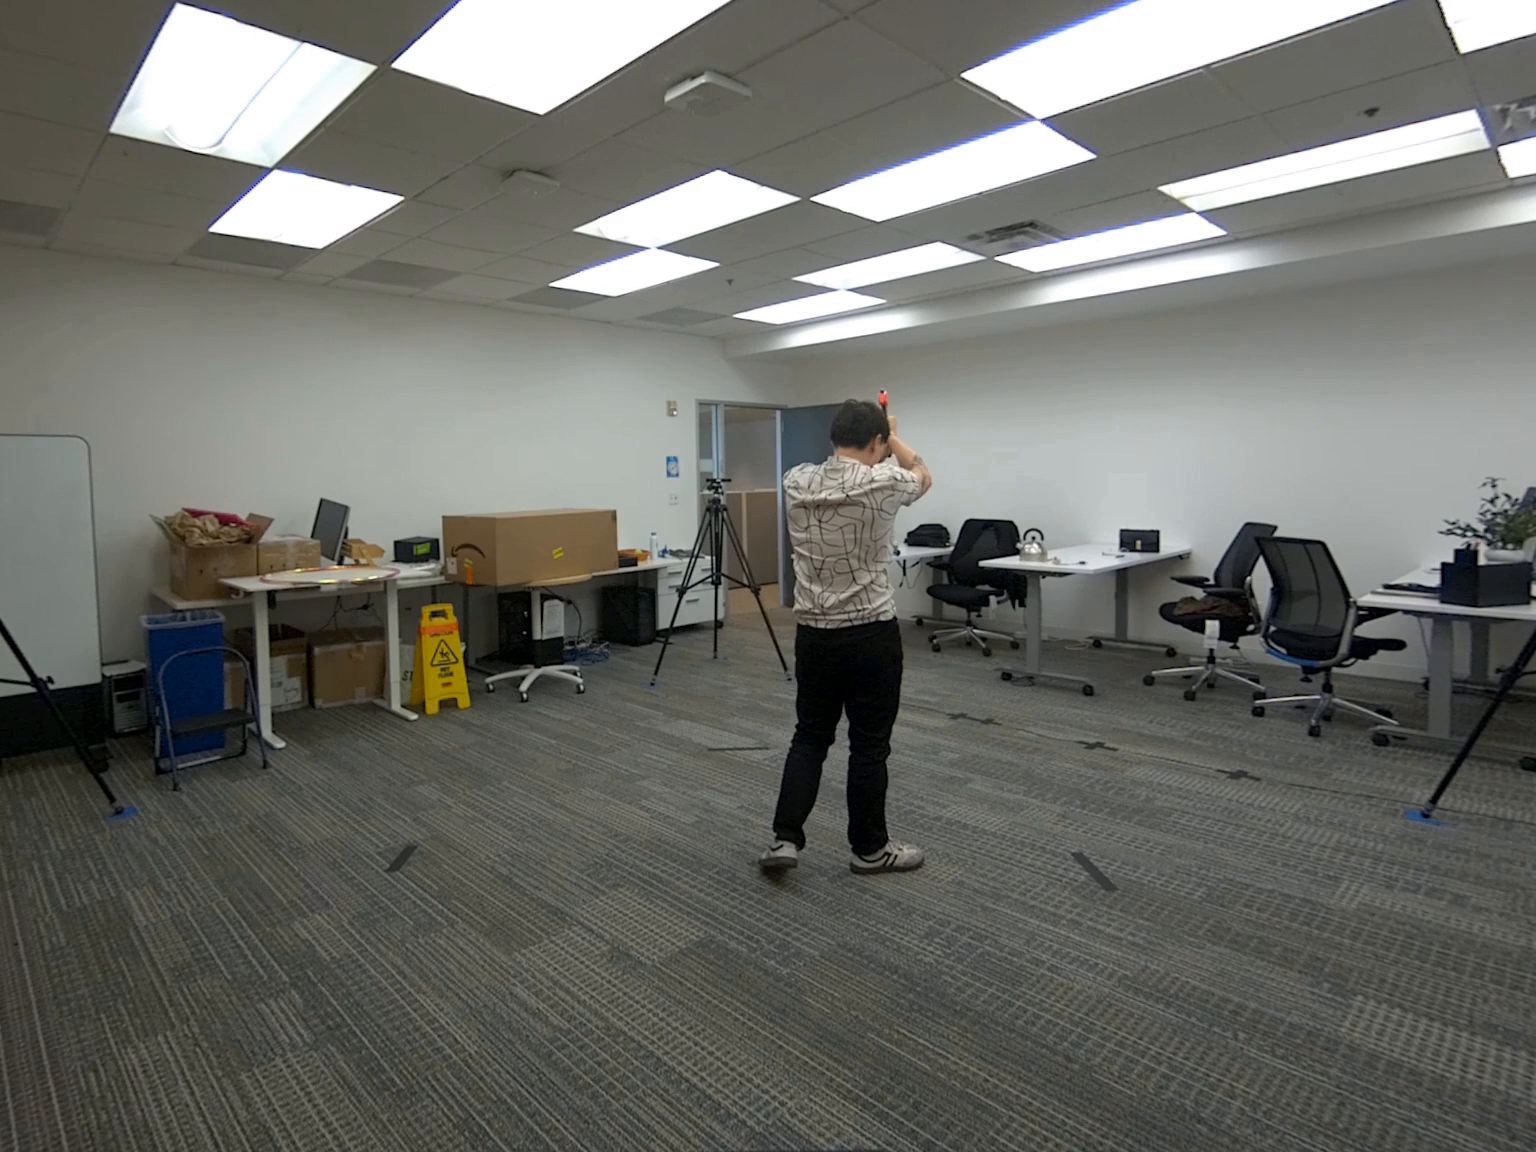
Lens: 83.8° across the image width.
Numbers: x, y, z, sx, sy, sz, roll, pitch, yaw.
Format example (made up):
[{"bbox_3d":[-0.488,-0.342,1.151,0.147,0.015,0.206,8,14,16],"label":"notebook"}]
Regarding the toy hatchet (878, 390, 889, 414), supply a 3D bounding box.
[{"bbox_3d":[0.457,-0.594,3.267,0.030,0.261,0.134,-3,44,12],"label":"toy hatchet"}]
